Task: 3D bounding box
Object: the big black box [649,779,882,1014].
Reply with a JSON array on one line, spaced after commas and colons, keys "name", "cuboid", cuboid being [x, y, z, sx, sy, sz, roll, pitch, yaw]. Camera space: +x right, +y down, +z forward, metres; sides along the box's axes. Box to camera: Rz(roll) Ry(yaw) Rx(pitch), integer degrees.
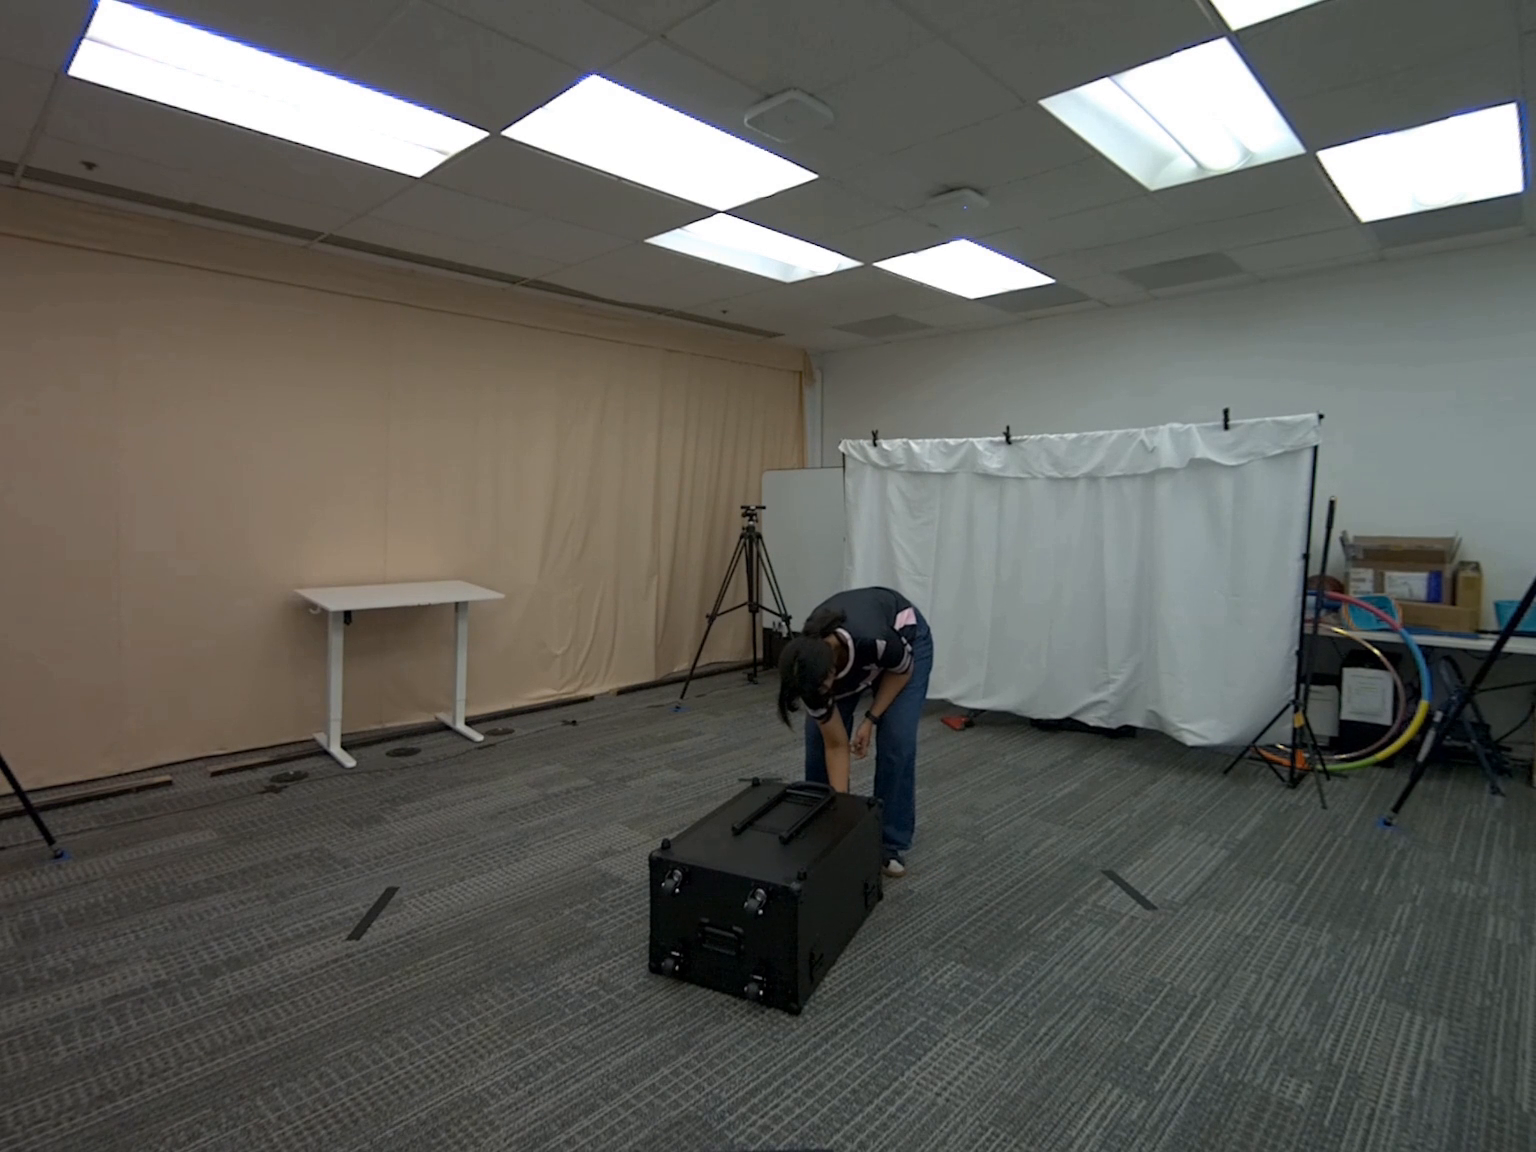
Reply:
[{"name": "big black box", "cuboid": [0.013, 0.971, 2.700, 0.535, 0.395, 0.842, 2, 6, 25]}]
